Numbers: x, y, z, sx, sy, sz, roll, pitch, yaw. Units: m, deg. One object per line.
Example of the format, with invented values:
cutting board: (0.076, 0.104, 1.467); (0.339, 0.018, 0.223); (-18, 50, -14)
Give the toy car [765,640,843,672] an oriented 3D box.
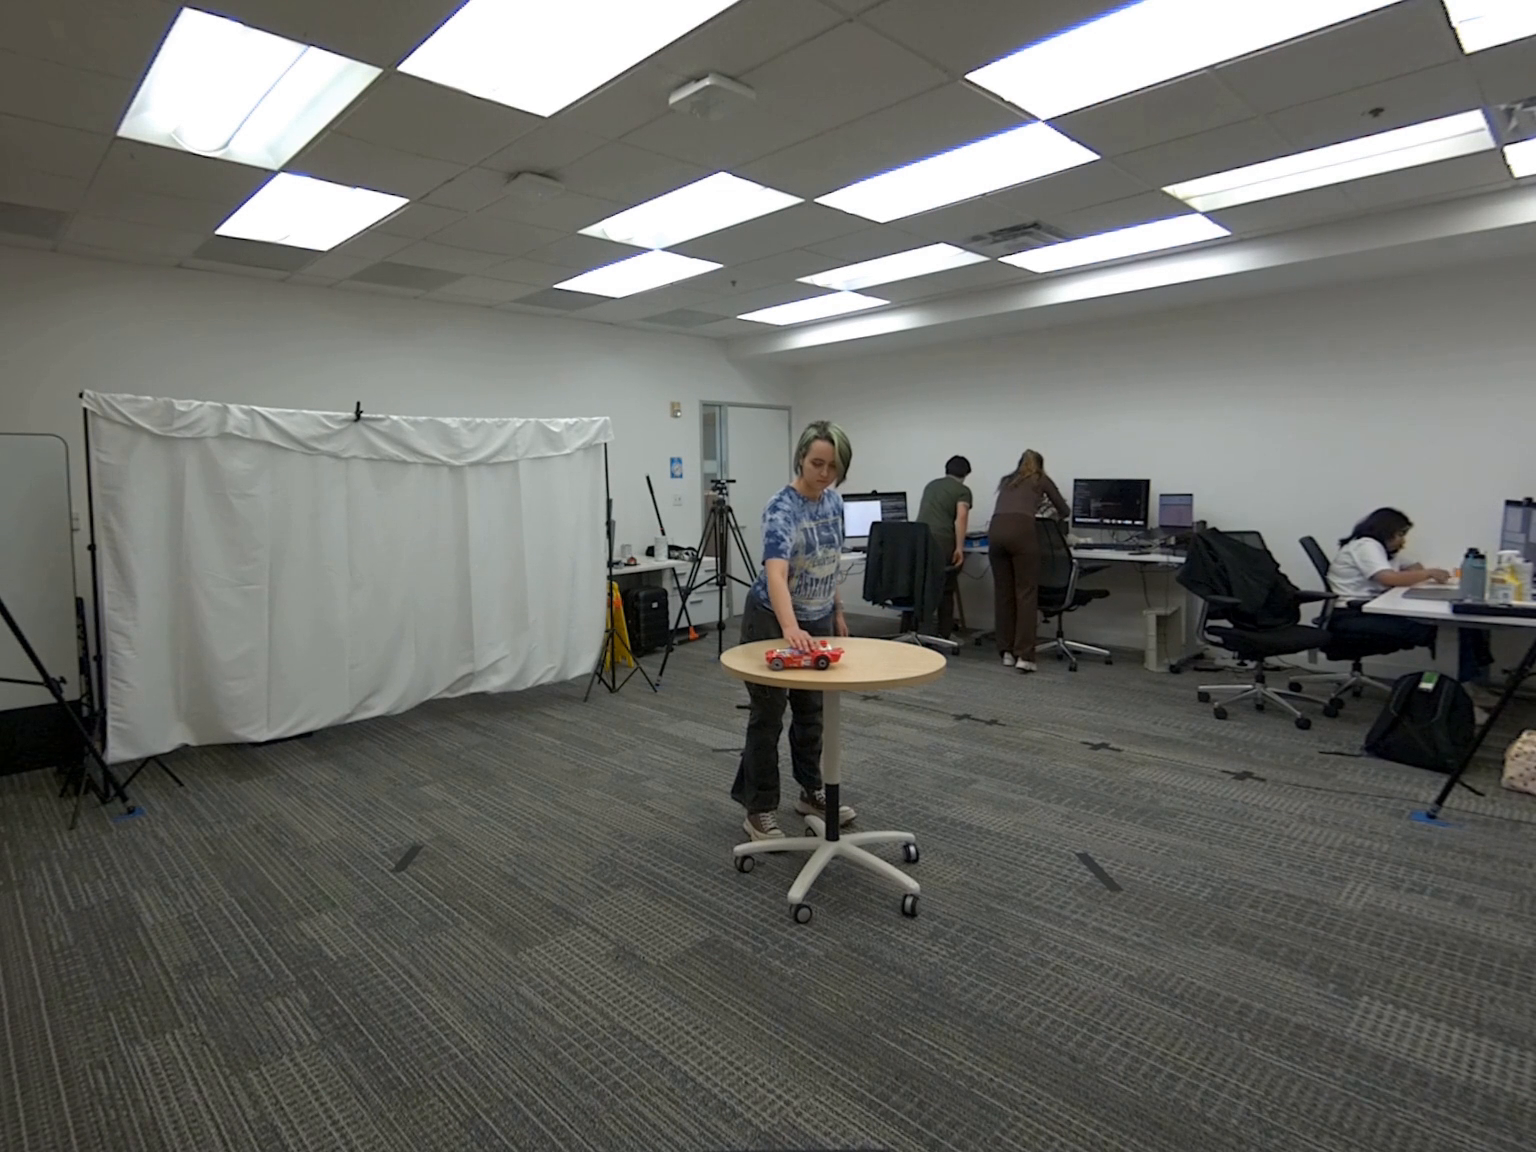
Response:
toy car: (0.127, 0.268, 2.772); (0.255, 0.083, 0.130); (-12, 5, 2)
